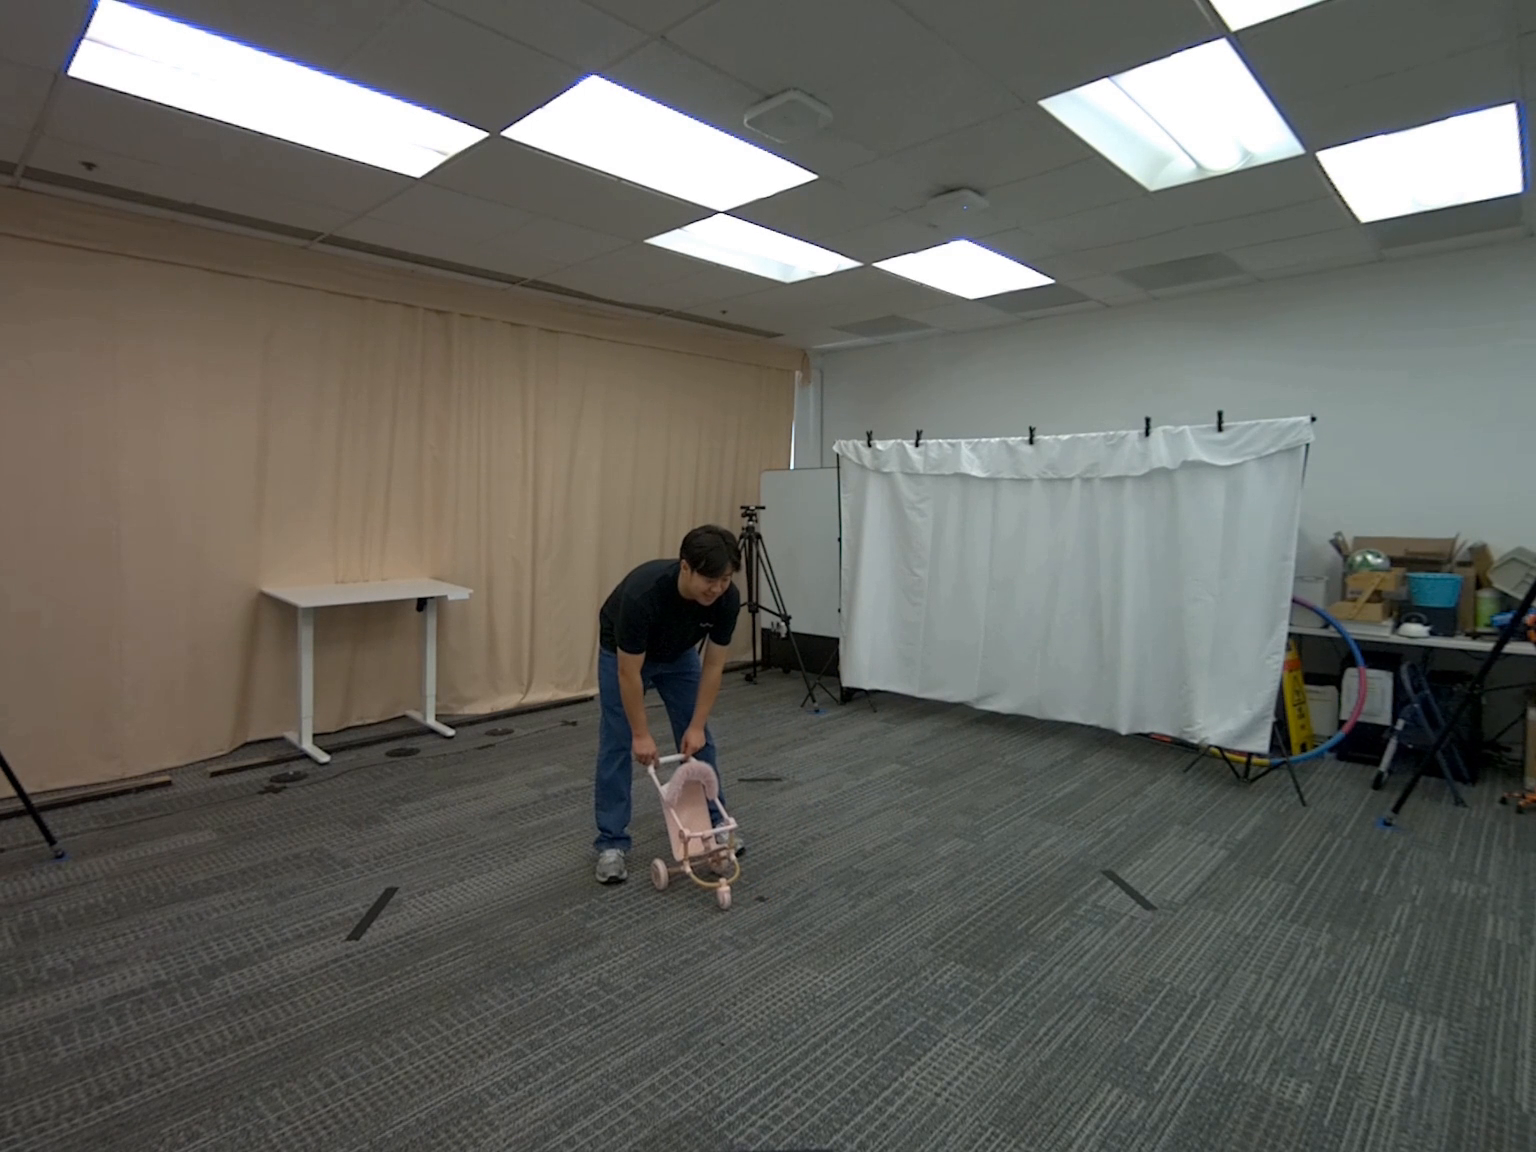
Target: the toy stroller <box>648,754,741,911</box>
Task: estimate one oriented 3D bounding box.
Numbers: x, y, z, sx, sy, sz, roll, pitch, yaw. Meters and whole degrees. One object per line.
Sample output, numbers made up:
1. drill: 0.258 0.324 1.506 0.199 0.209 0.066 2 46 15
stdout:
1. toy stroller: -0.255 0.916 3.060 0.274 0.540 0.347 -2 -13 -28
